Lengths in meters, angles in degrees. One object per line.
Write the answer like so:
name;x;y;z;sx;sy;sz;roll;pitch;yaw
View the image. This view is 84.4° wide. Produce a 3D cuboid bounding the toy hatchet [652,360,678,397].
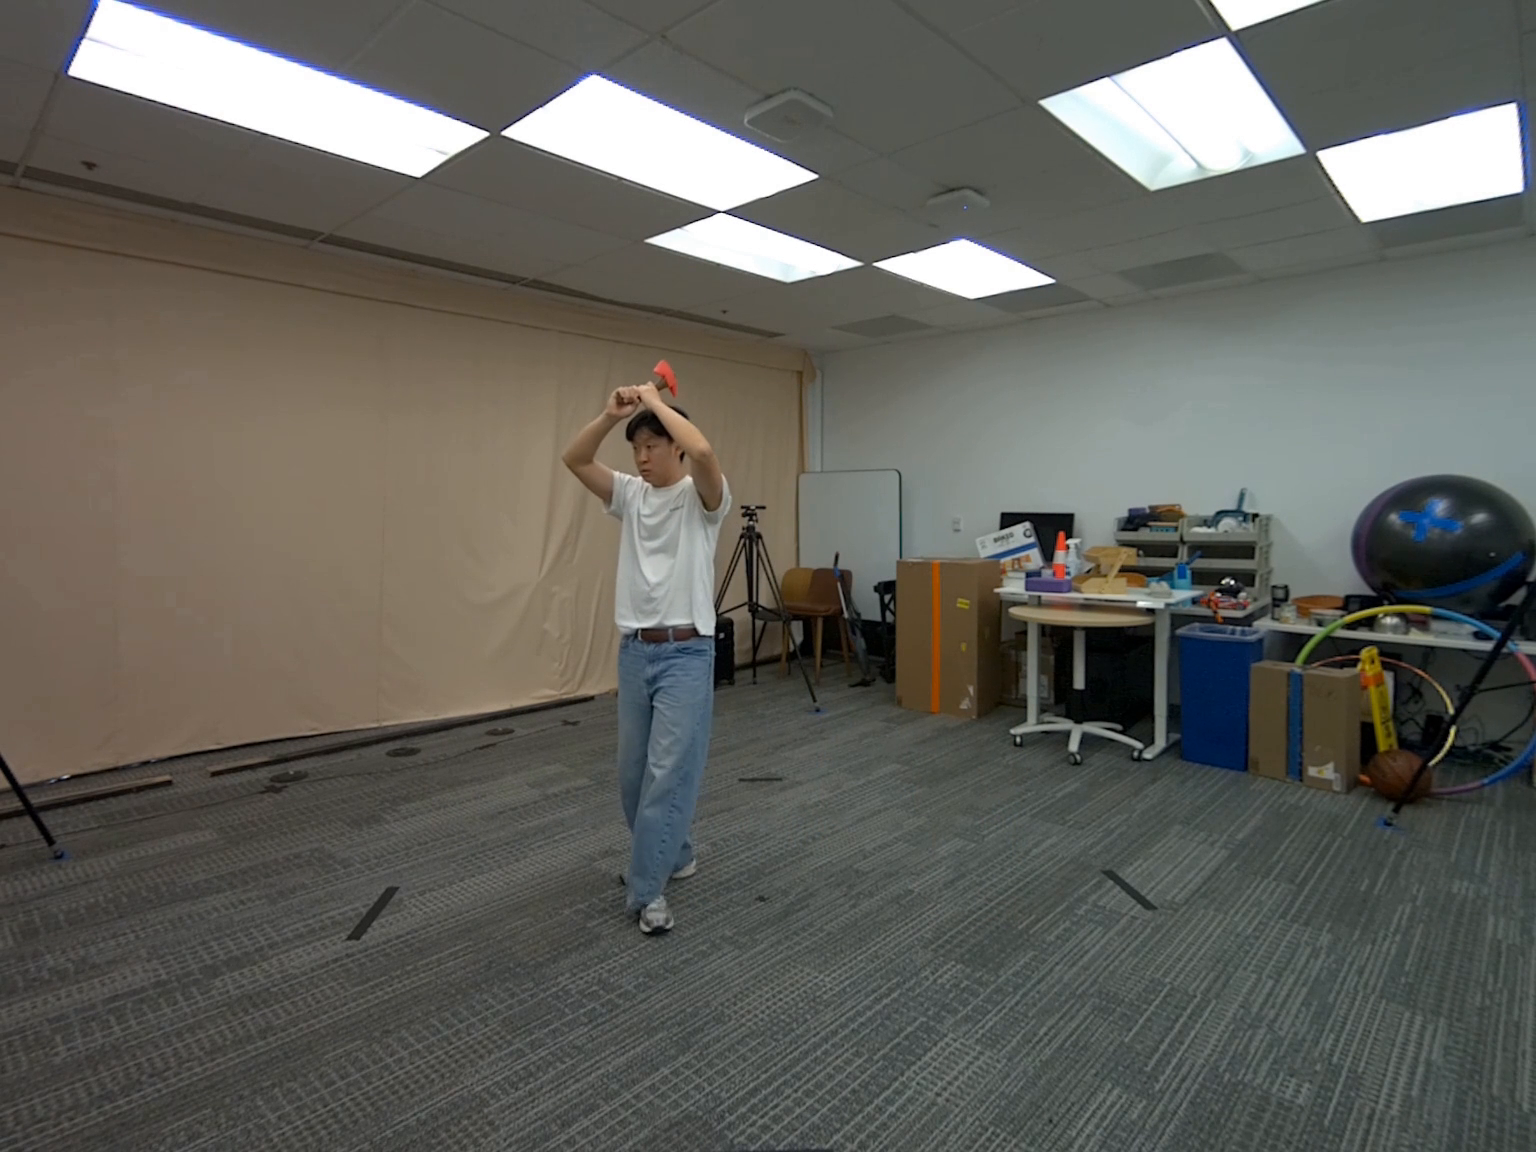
toy hatchet;-0.404;-0.668;2.877;0.030;0.130;0.263;10;21;41
